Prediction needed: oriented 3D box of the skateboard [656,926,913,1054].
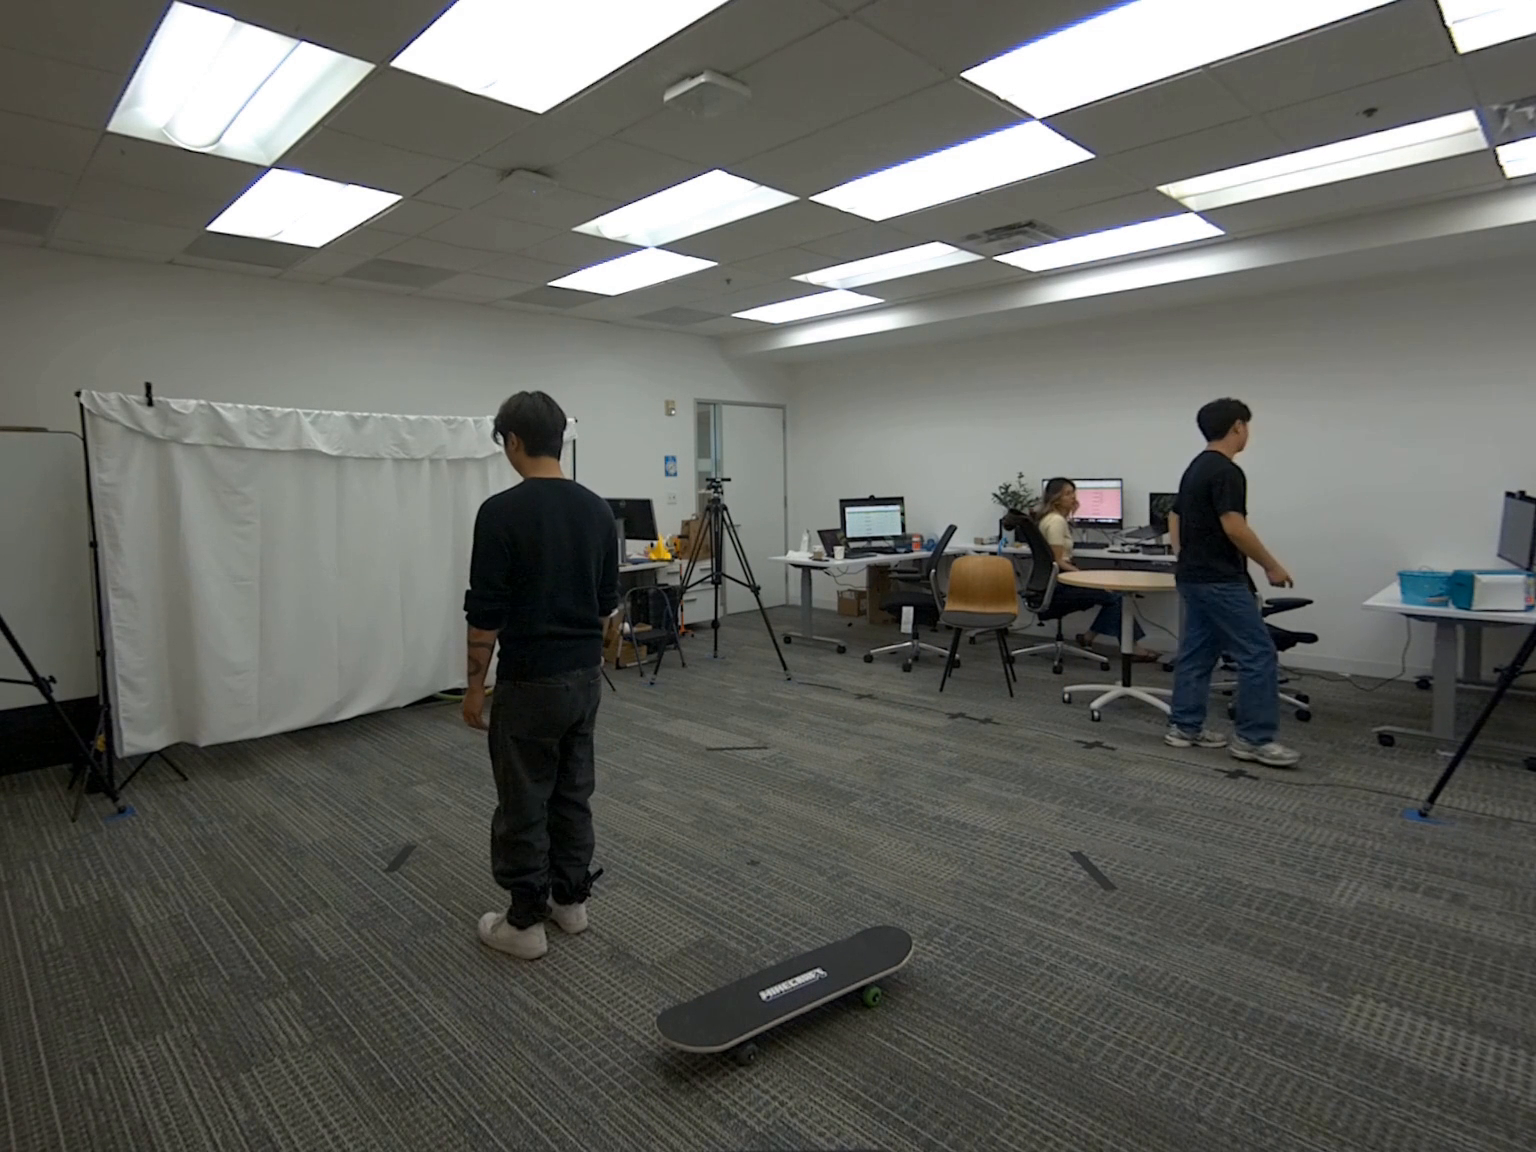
[{"bbox_3d":[0.070,1.085,2.218,0.766,0.110,0.199,-6,8,-34],"label":"skateboard"}]
